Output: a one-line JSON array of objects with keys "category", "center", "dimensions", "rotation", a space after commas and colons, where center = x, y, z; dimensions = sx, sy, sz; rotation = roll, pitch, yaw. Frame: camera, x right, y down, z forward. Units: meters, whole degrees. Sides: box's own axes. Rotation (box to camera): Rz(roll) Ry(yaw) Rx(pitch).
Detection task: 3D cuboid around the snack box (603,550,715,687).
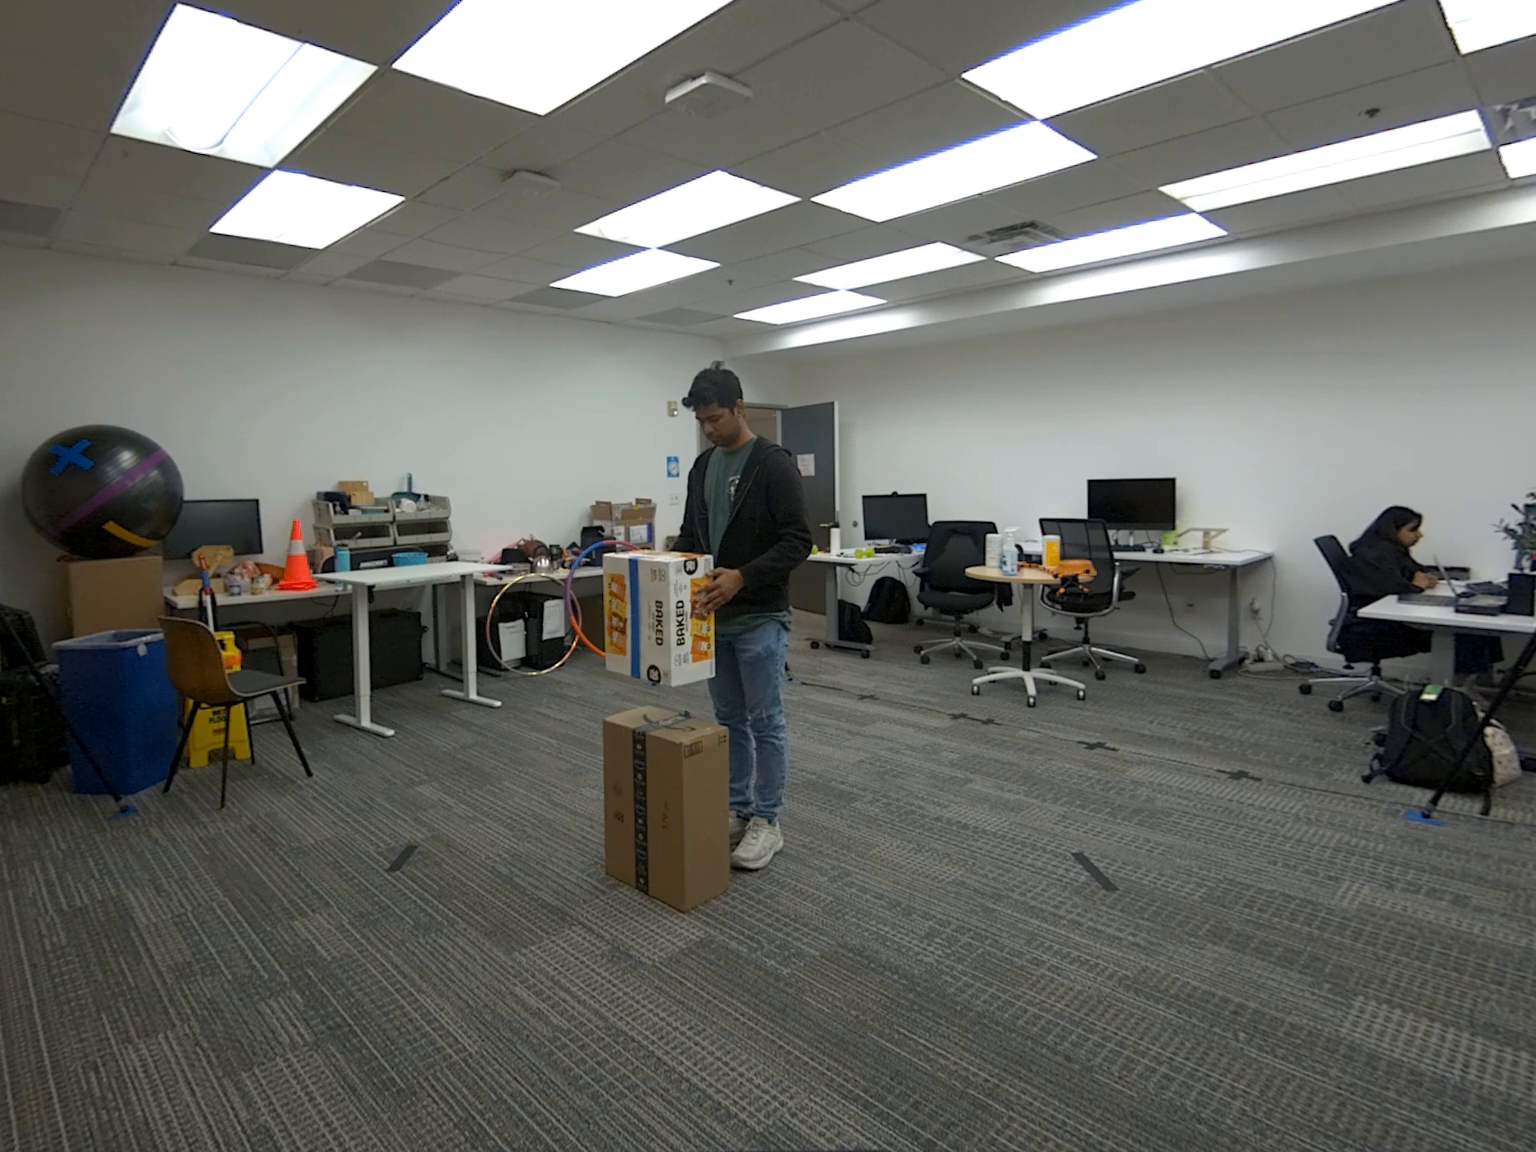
[{"category": "snack box", "center": [-0.364, 0.127, 2.890], "dimensions": [0.351, 0.403, 0.200], "rotation": [4, 7, 43]}]
